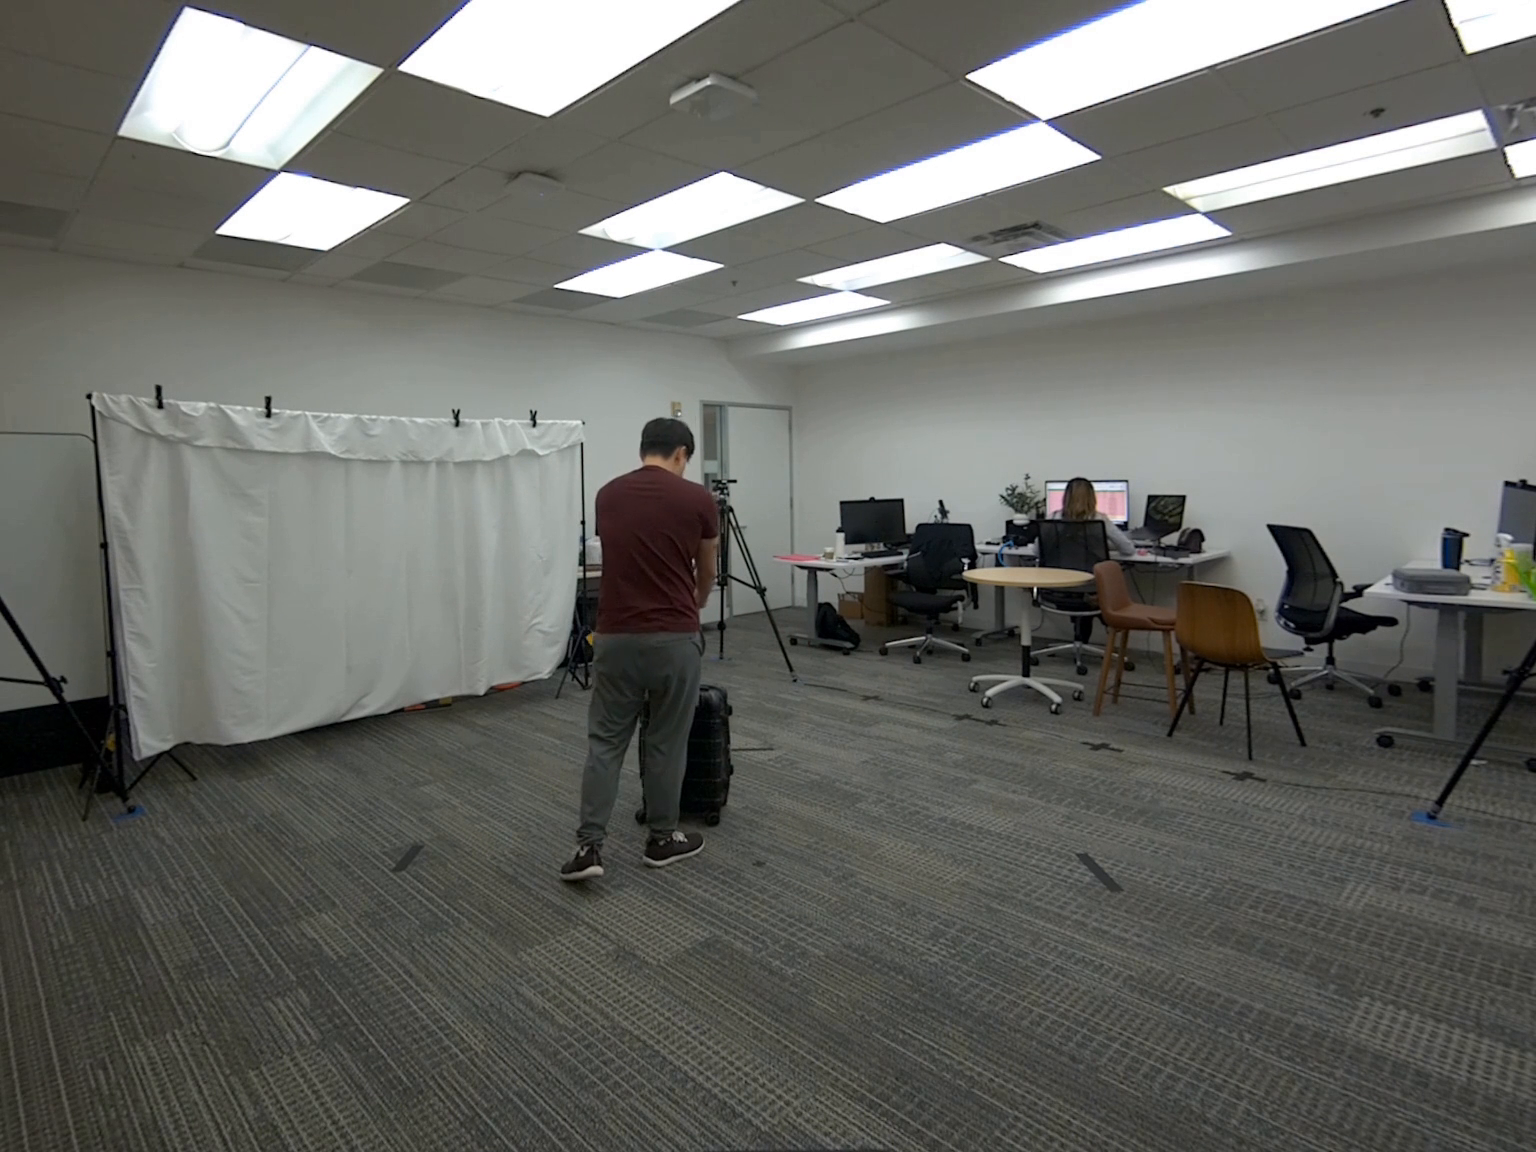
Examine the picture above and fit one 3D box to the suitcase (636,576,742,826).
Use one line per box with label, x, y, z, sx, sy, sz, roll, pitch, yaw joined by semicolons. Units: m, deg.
suitcase;-0.346;0.526;3.592;0.387;0.979;0.255;1;0;7
